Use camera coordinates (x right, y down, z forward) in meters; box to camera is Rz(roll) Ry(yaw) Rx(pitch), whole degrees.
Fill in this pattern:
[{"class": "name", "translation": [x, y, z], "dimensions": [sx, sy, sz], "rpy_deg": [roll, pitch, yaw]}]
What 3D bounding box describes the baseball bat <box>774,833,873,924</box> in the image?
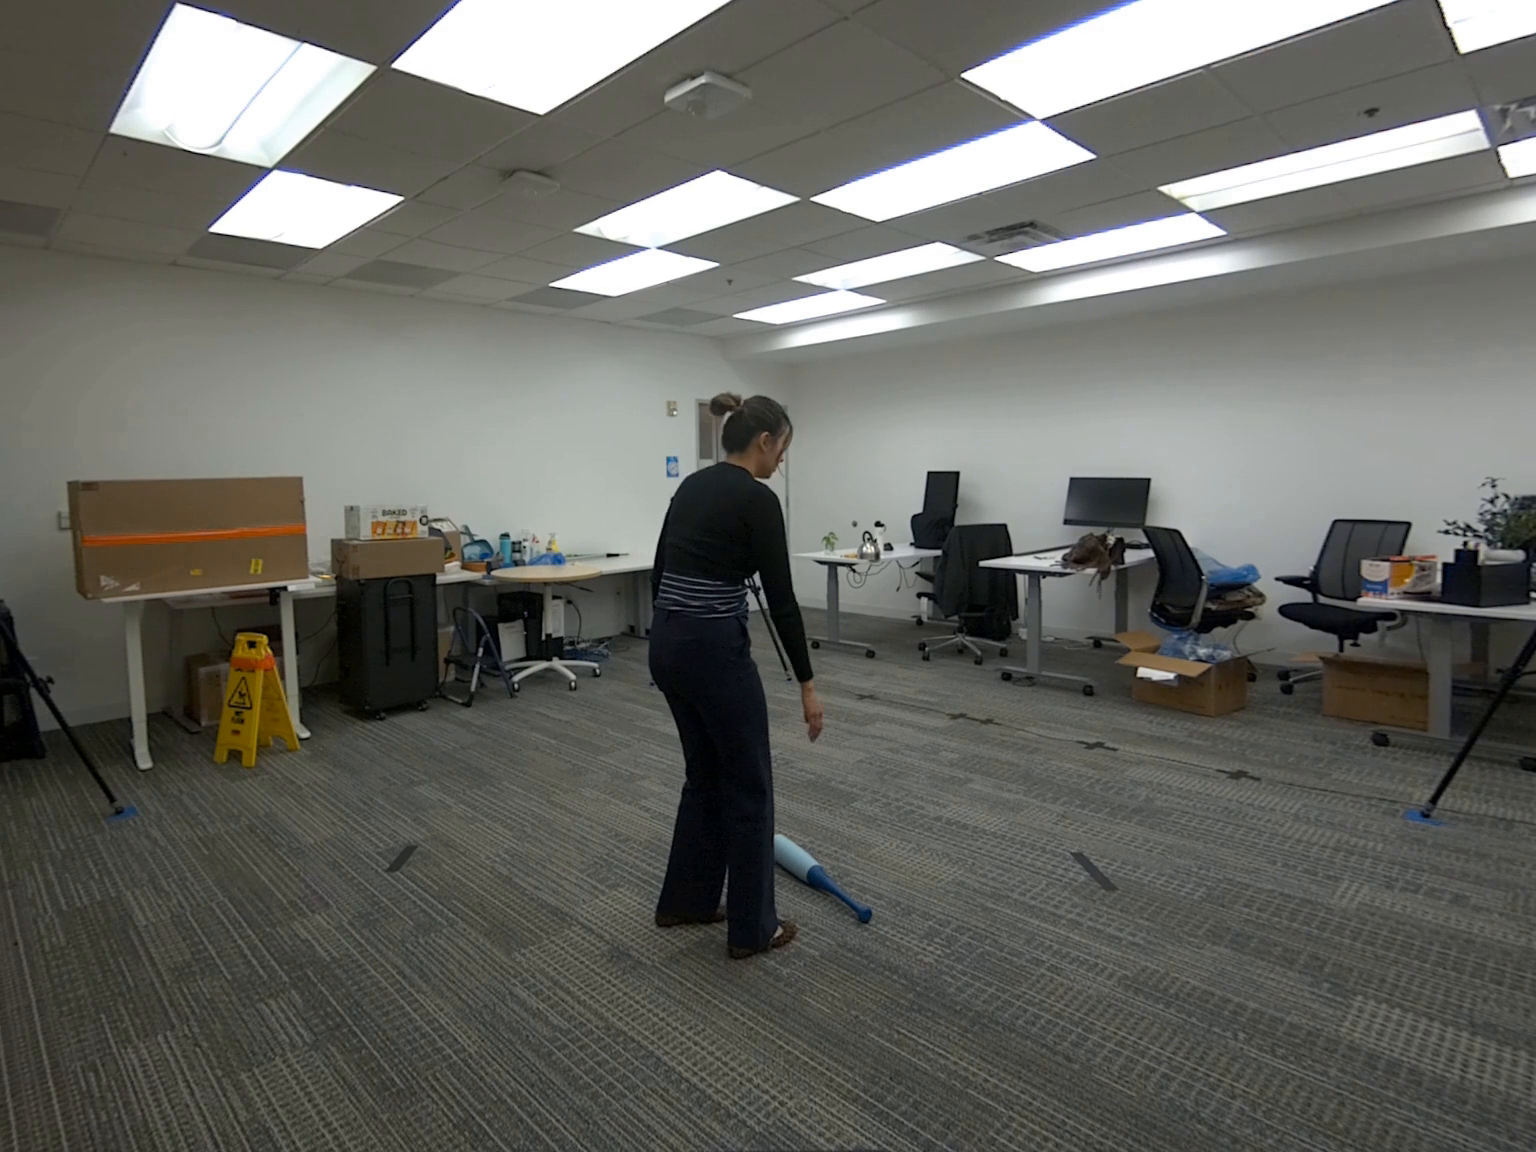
[{"class": "baseball bat", "translation": [0.171, 1.026, 2.907], "dimensions": [0.087, 0.088, 0.559], "rpy_deg": [-4, 10, -29]}]
